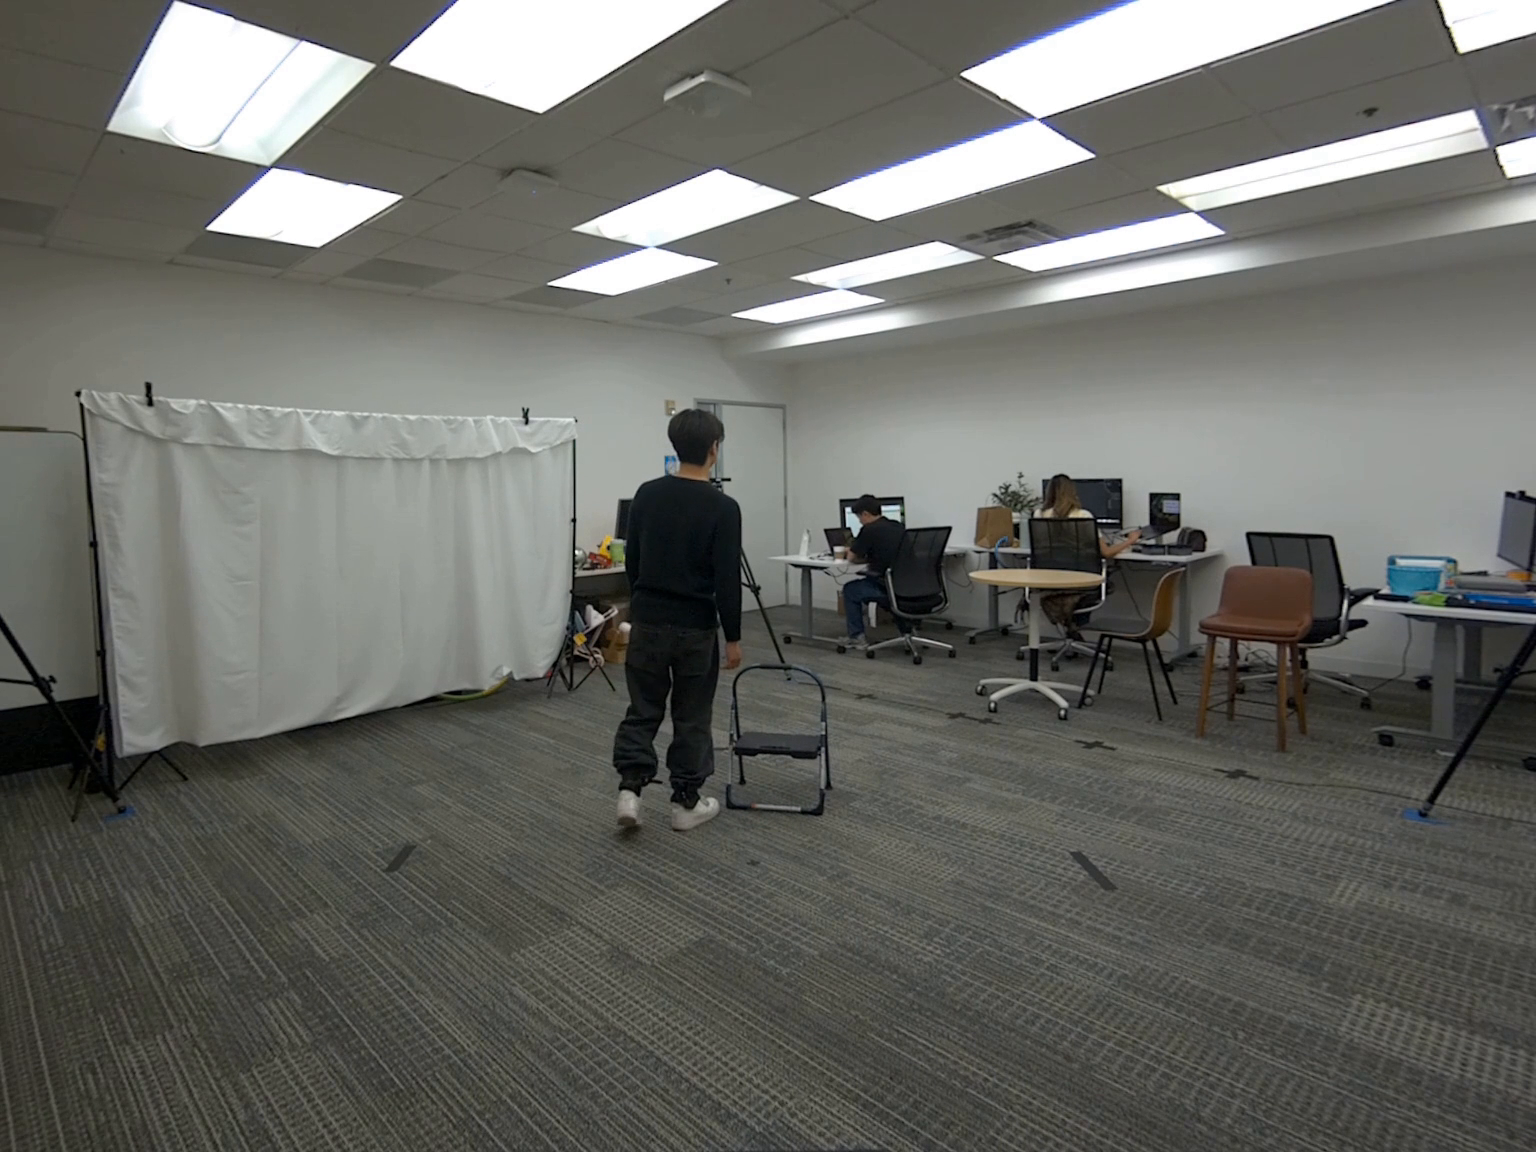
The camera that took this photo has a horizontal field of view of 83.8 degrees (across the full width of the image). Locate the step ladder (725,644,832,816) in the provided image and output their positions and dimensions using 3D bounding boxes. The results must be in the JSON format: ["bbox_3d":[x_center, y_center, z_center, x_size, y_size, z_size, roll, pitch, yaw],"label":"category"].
[{"bbox_3d":[0.051,0.671,3.723,0.435,0.604,0.347,0,4,10],"label":"step ladder"}]
